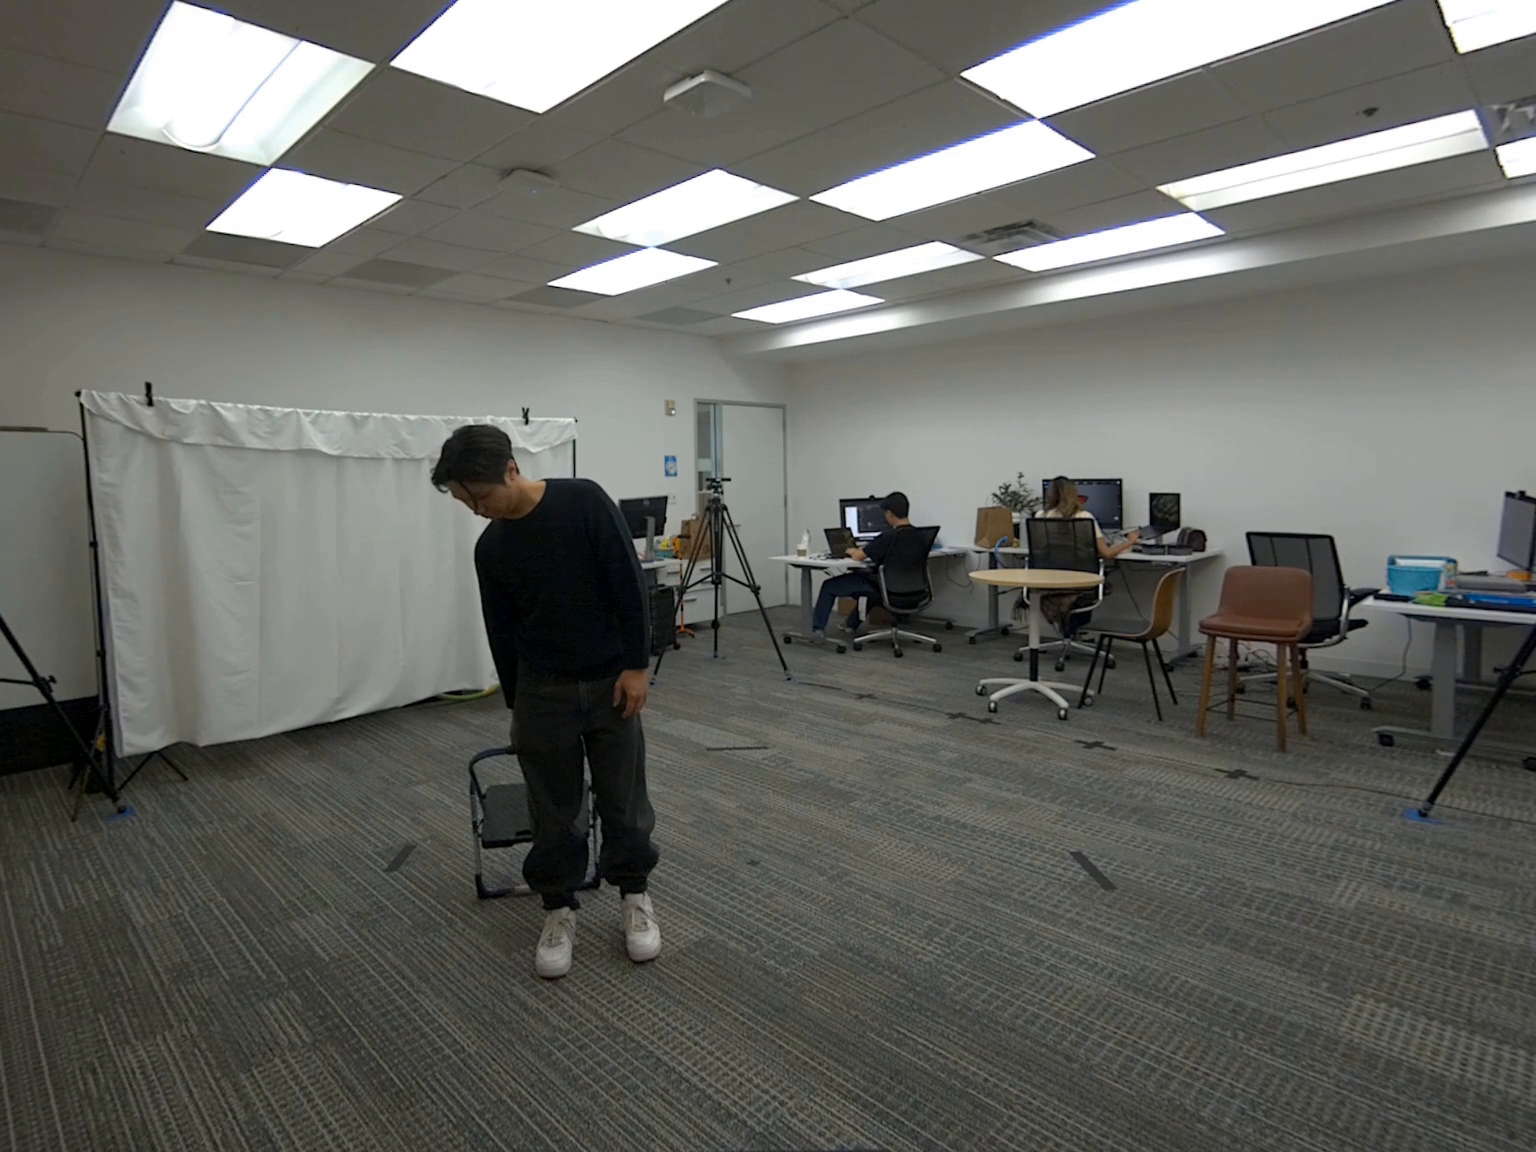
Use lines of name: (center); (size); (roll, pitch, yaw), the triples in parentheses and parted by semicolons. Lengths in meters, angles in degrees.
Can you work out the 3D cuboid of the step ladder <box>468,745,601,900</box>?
step ladder: (-0.788, 0.742, 2.890); (0.427, 0.592, 0.361); (-3, 34, -10)
